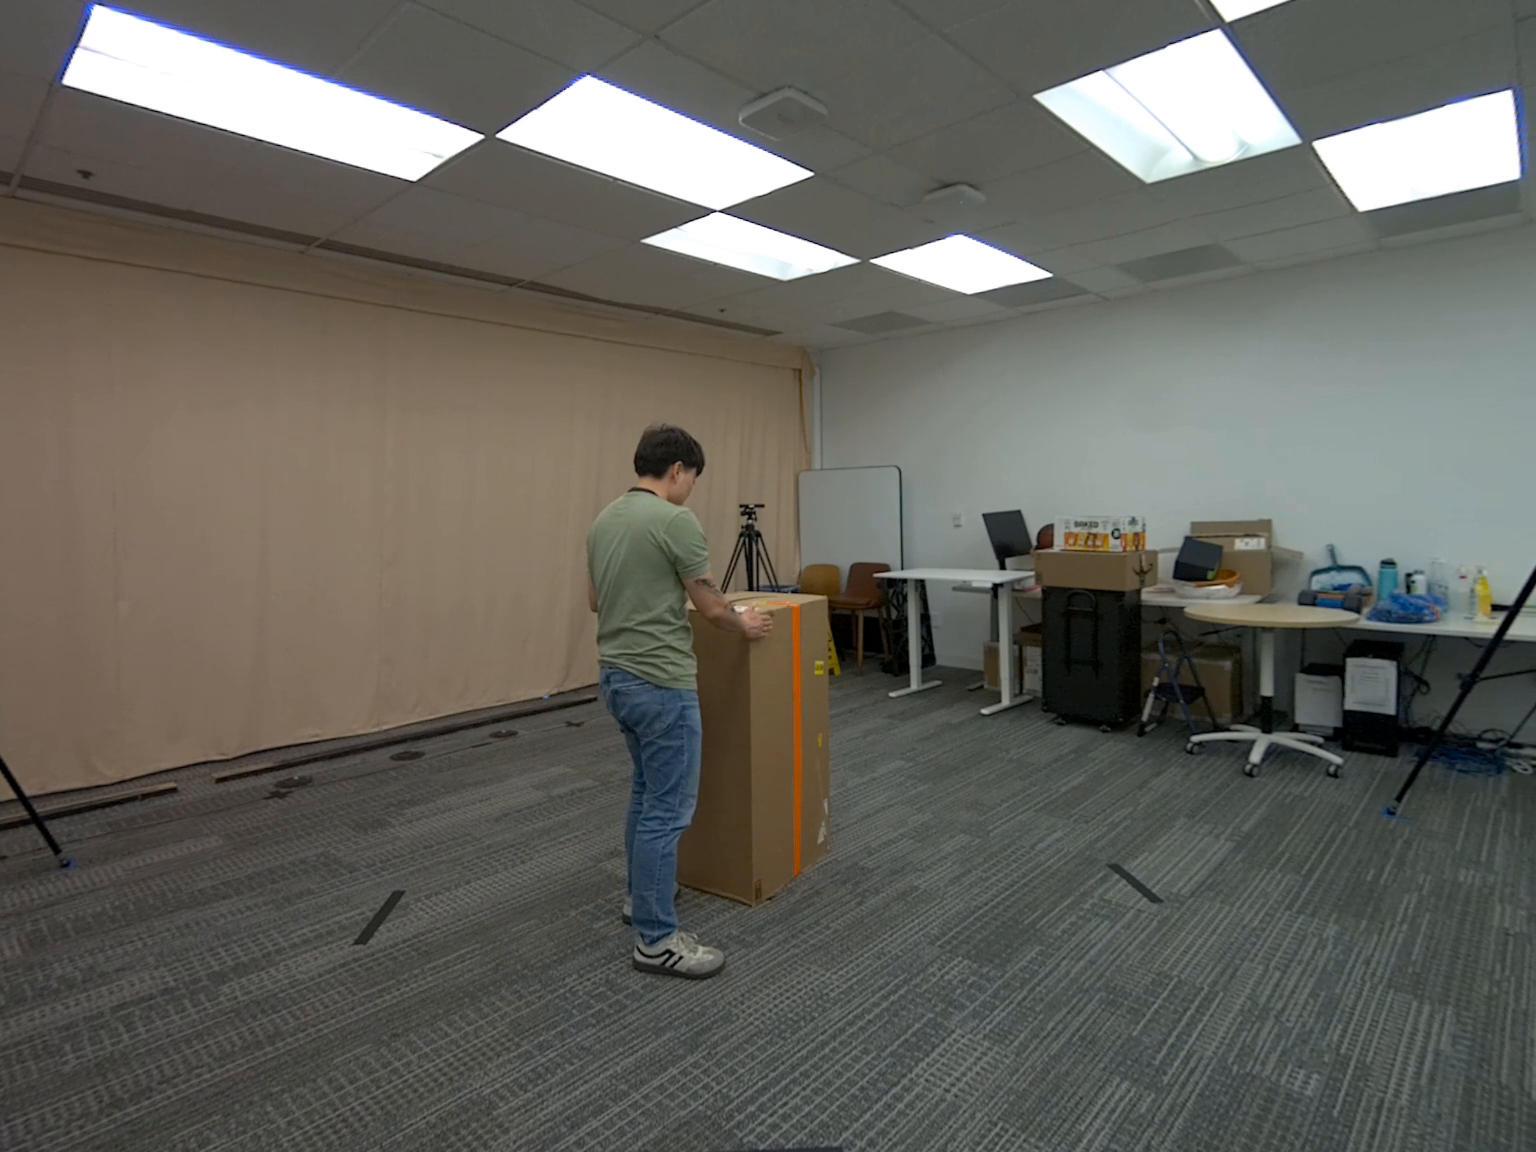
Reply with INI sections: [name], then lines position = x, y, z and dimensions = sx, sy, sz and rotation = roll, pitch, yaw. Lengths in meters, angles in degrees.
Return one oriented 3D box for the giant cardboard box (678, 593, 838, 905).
[giant cardboard box]
position = -0.078, 0.608, 3.242
dimensions = 0.439, 1.023, 0.561
rotation = 1, 4, 33
